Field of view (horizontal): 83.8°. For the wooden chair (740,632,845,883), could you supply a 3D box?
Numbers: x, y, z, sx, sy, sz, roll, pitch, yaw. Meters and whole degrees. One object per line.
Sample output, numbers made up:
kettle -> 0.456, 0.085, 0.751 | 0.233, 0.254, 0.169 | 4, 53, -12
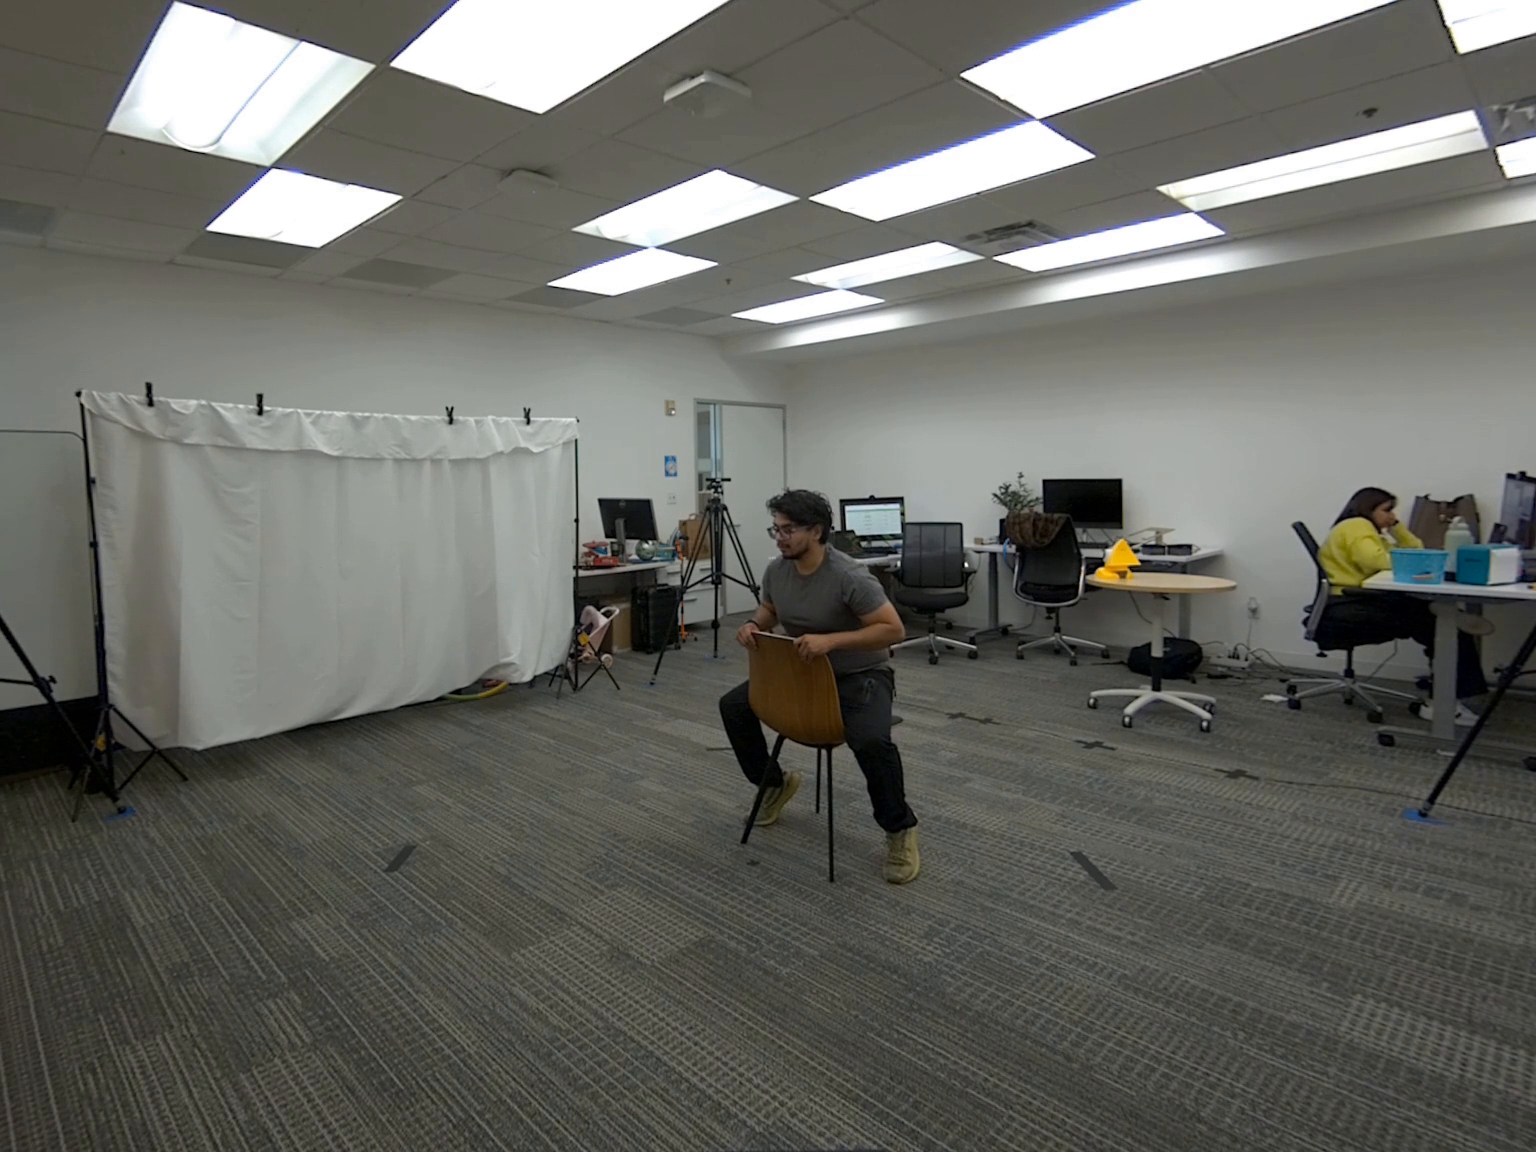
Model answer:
wooden chair -> 0.214, 0.595, 3.234 | 0.511, 0.871, 0.493 | -10, 10, -44
